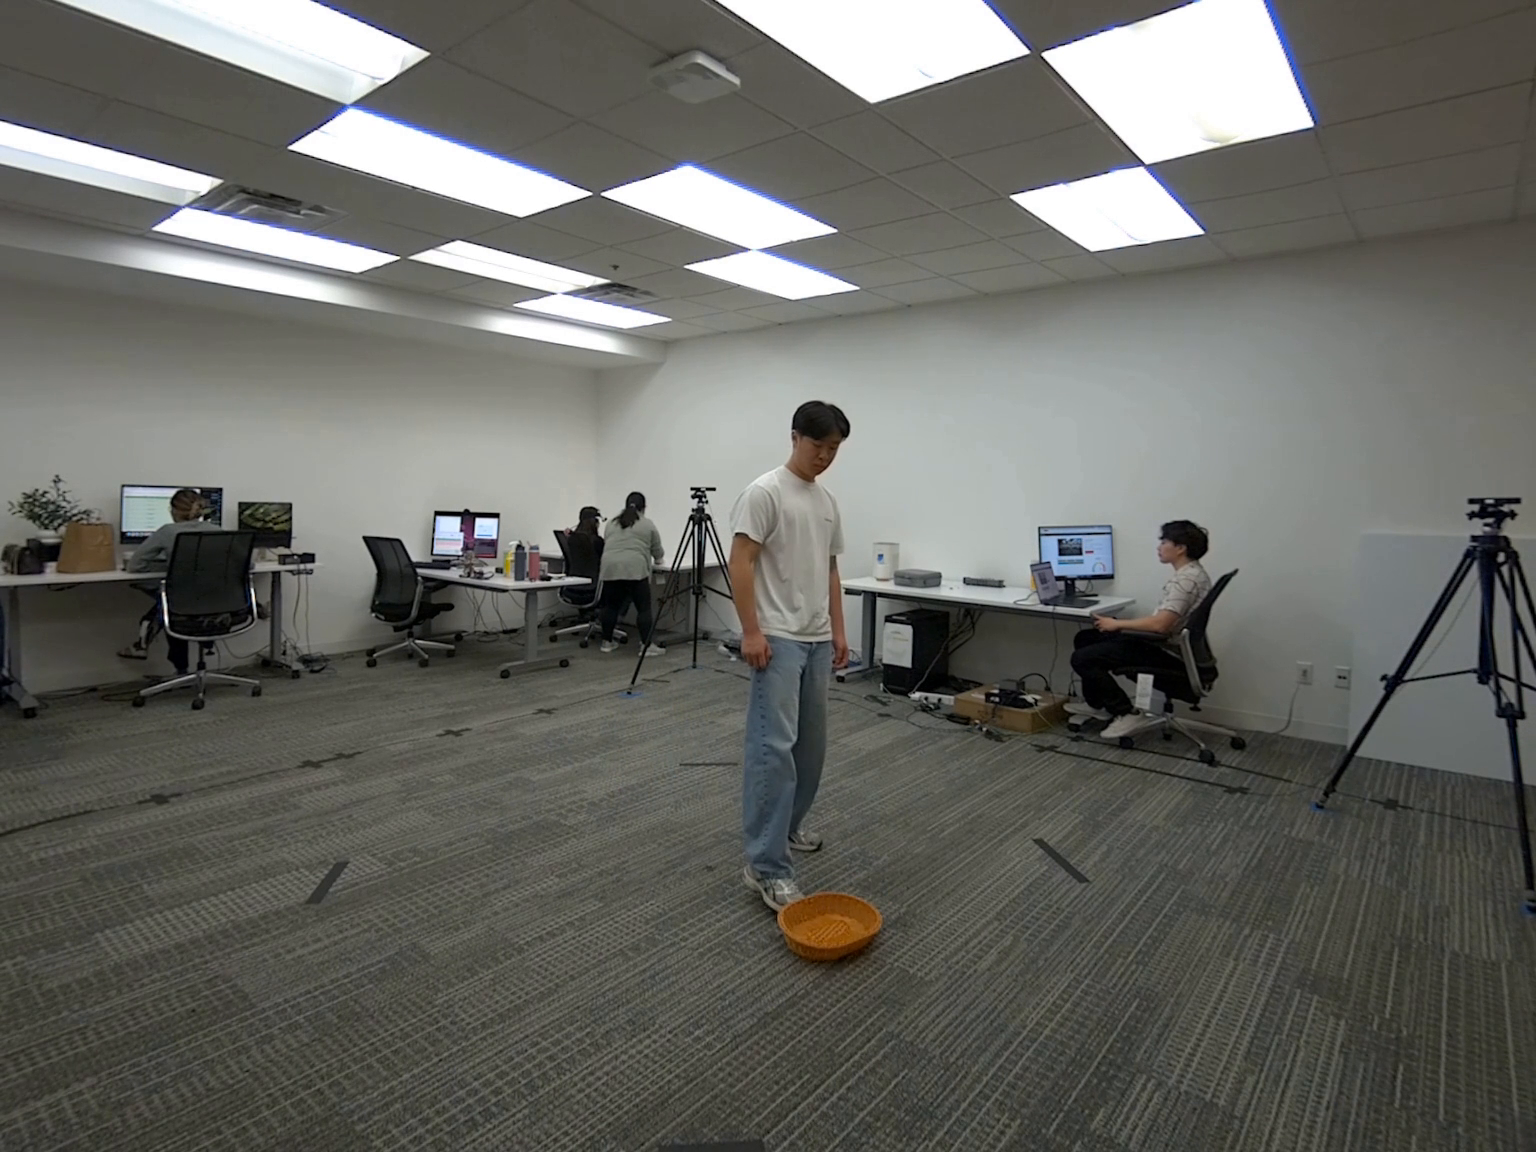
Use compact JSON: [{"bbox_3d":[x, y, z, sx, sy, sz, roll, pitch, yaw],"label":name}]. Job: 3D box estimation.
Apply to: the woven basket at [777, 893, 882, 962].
[{"bbox_3d":[0.182,1.080,2.634,0.340,0.073,0.261,-3,10,-34],"label":"woven basket"}]
